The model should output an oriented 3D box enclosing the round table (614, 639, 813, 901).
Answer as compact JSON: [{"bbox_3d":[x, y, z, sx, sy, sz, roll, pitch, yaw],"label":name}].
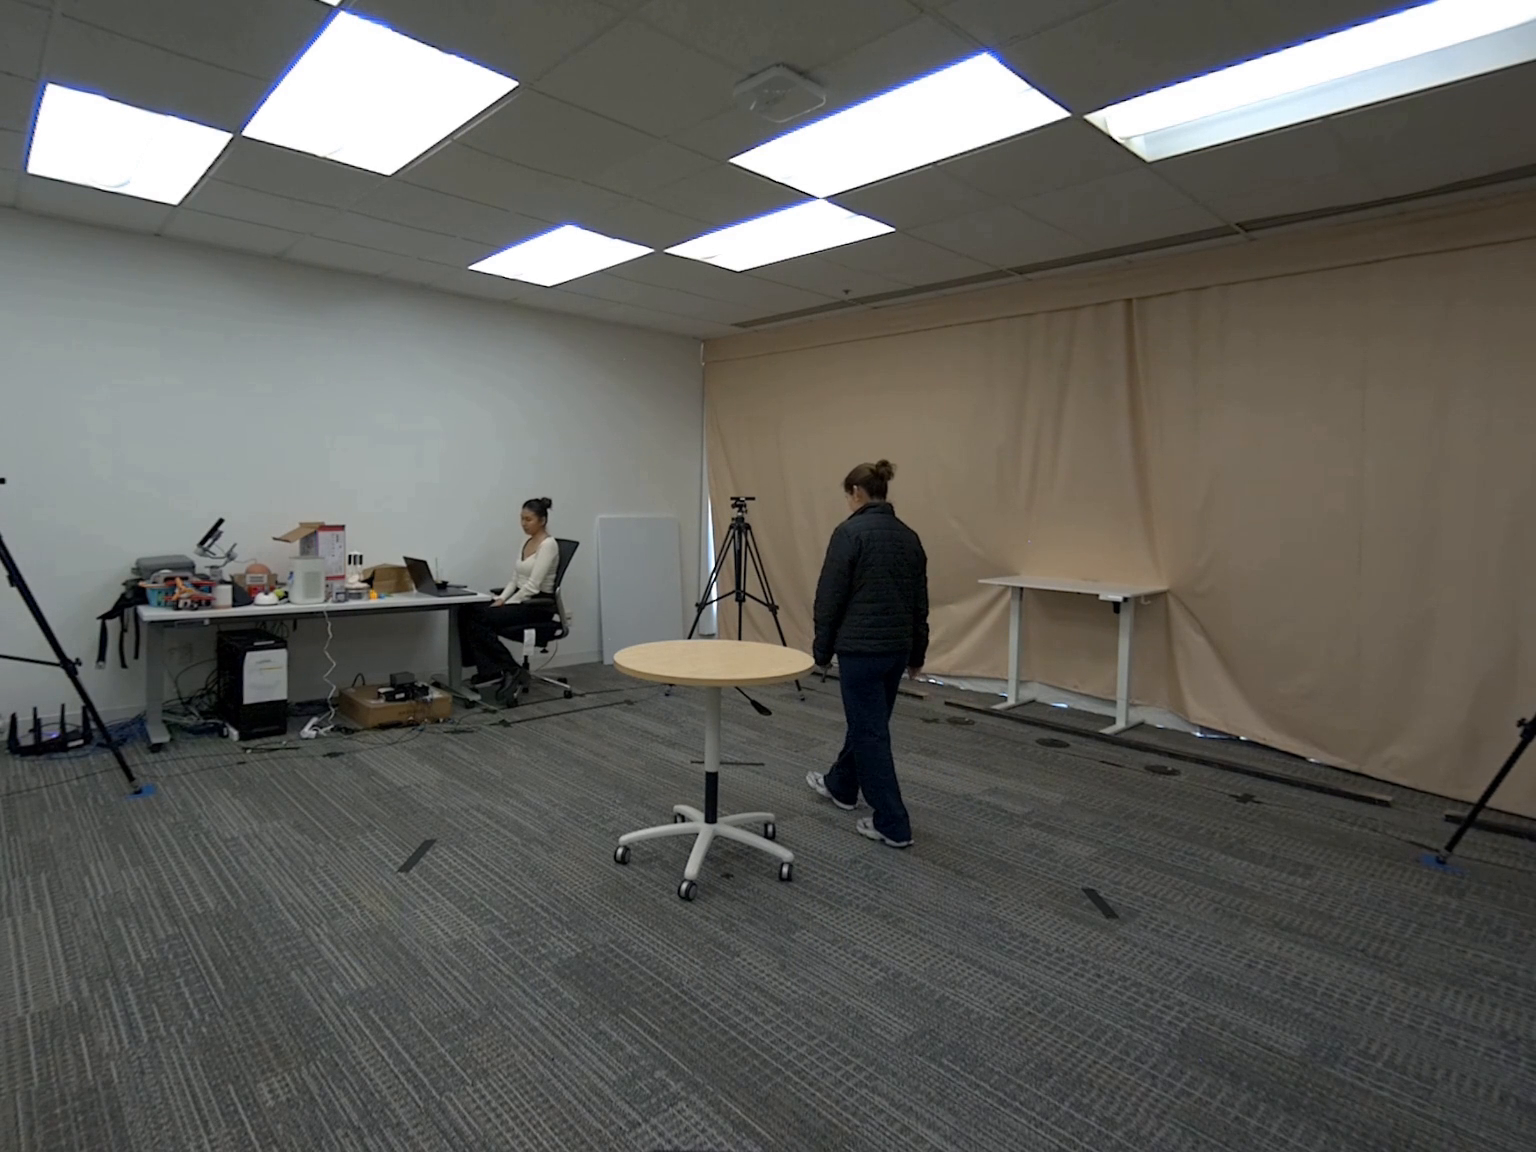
[{"bbox_3d":[-0.208,0.702,3.226,0.784,0.784,0.788,1,4,-1],"label":"round table"}]
